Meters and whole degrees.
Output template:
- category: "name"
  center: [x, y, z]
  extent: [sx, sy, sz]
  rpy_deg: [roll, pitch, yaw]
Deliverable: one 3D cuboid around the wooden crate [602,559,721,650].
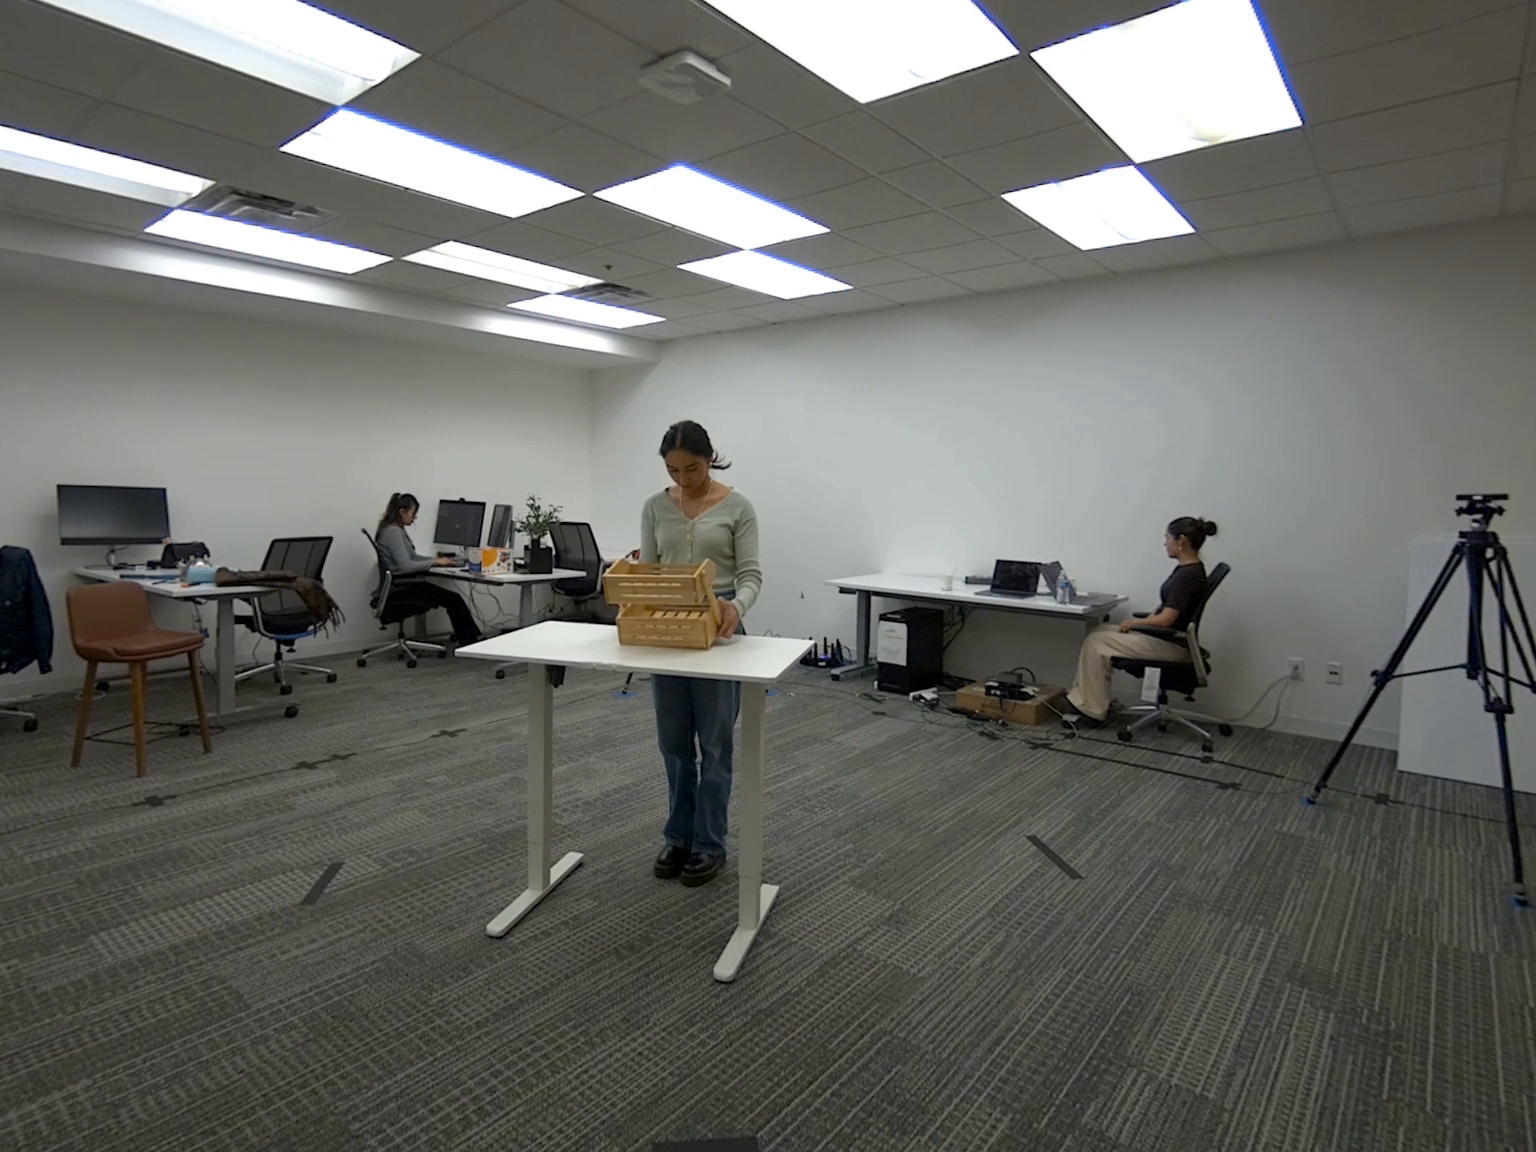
- category: "wooden crate"
  center: [-0.340, 0.058, 2.736]
  extent: [0.330, 0.268, 0.303]
  rpy_deg: [0, 22, 14]
